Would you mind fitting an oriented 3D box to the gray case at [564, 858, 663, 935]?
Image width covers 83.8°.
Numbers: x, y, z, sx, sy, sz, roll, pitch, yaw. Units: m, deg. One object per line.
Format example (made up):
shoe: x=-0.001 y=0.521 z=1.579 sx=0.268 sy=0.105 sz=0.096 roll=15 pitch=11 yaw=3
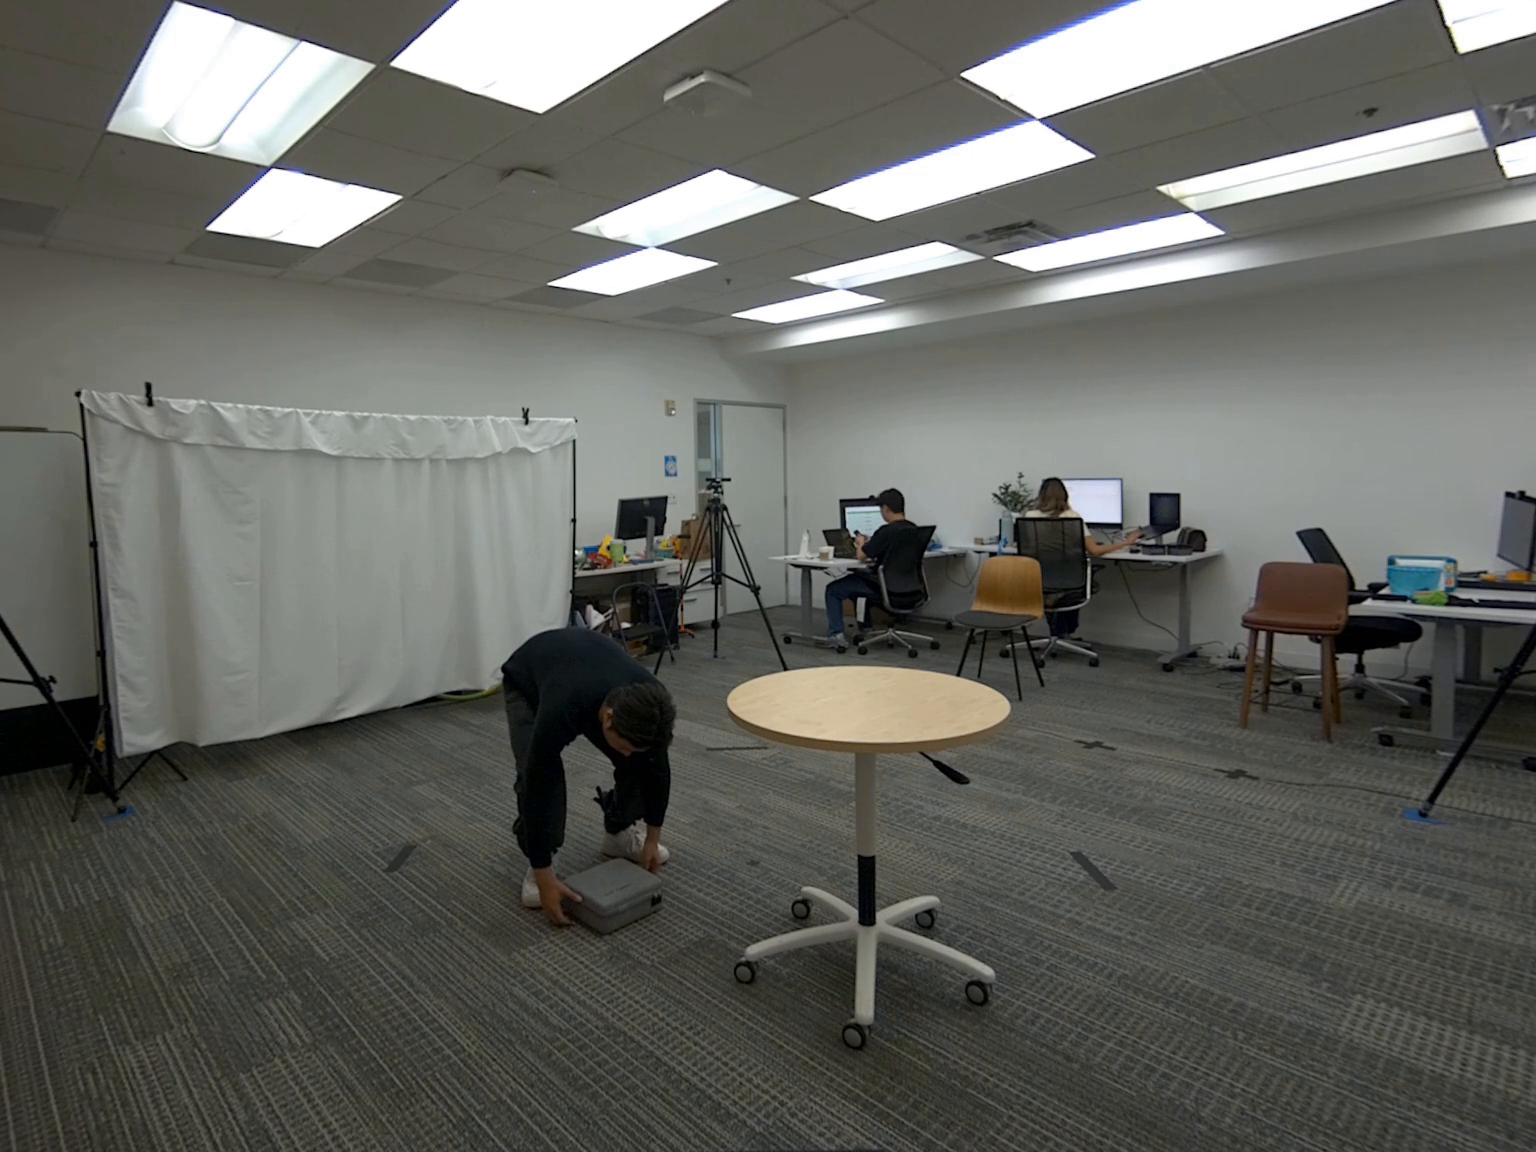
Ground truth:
gray case: x=-0.517 y=1.033 z=2.785 sx=0.268 sy=0.104 sz=0.251 roll=4 pitch=10 yaw=44
